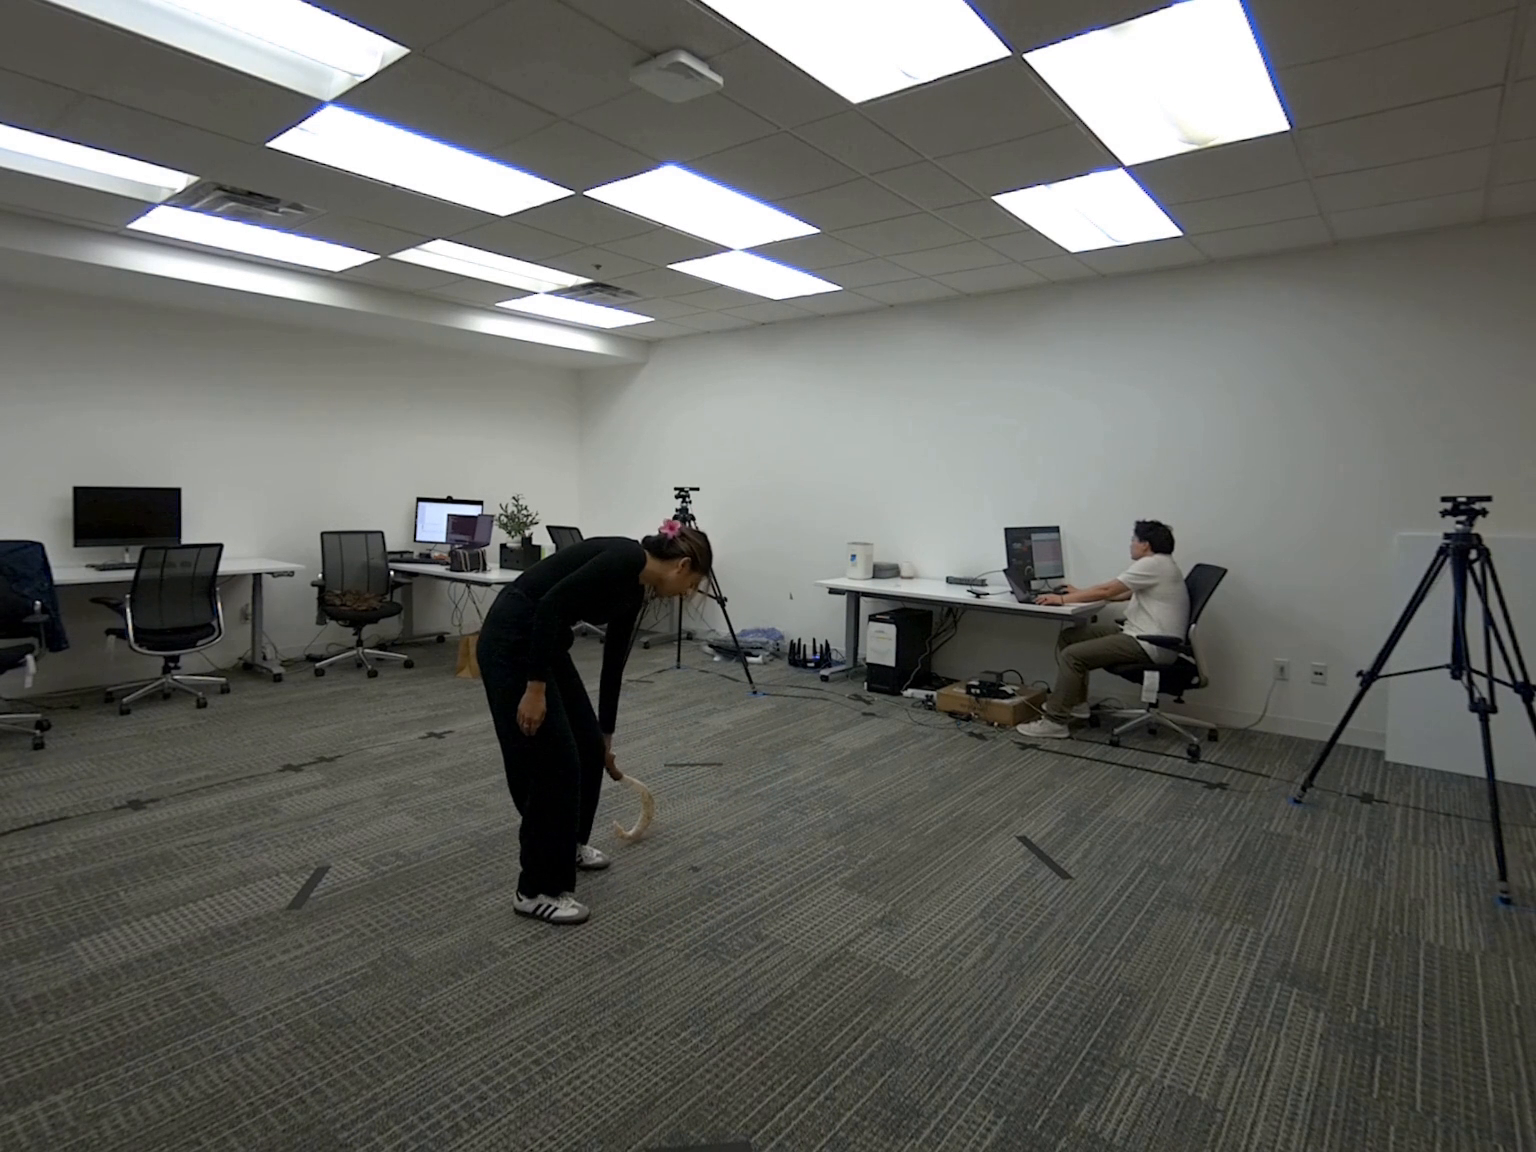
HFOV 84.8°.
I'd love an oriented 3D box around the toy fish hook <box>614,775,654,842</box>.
[{"bbox_3d":[-0.578,0.829,3.244,0.049,0.487,0.227,-1,44,29],"label":"toy fish hook"}]
